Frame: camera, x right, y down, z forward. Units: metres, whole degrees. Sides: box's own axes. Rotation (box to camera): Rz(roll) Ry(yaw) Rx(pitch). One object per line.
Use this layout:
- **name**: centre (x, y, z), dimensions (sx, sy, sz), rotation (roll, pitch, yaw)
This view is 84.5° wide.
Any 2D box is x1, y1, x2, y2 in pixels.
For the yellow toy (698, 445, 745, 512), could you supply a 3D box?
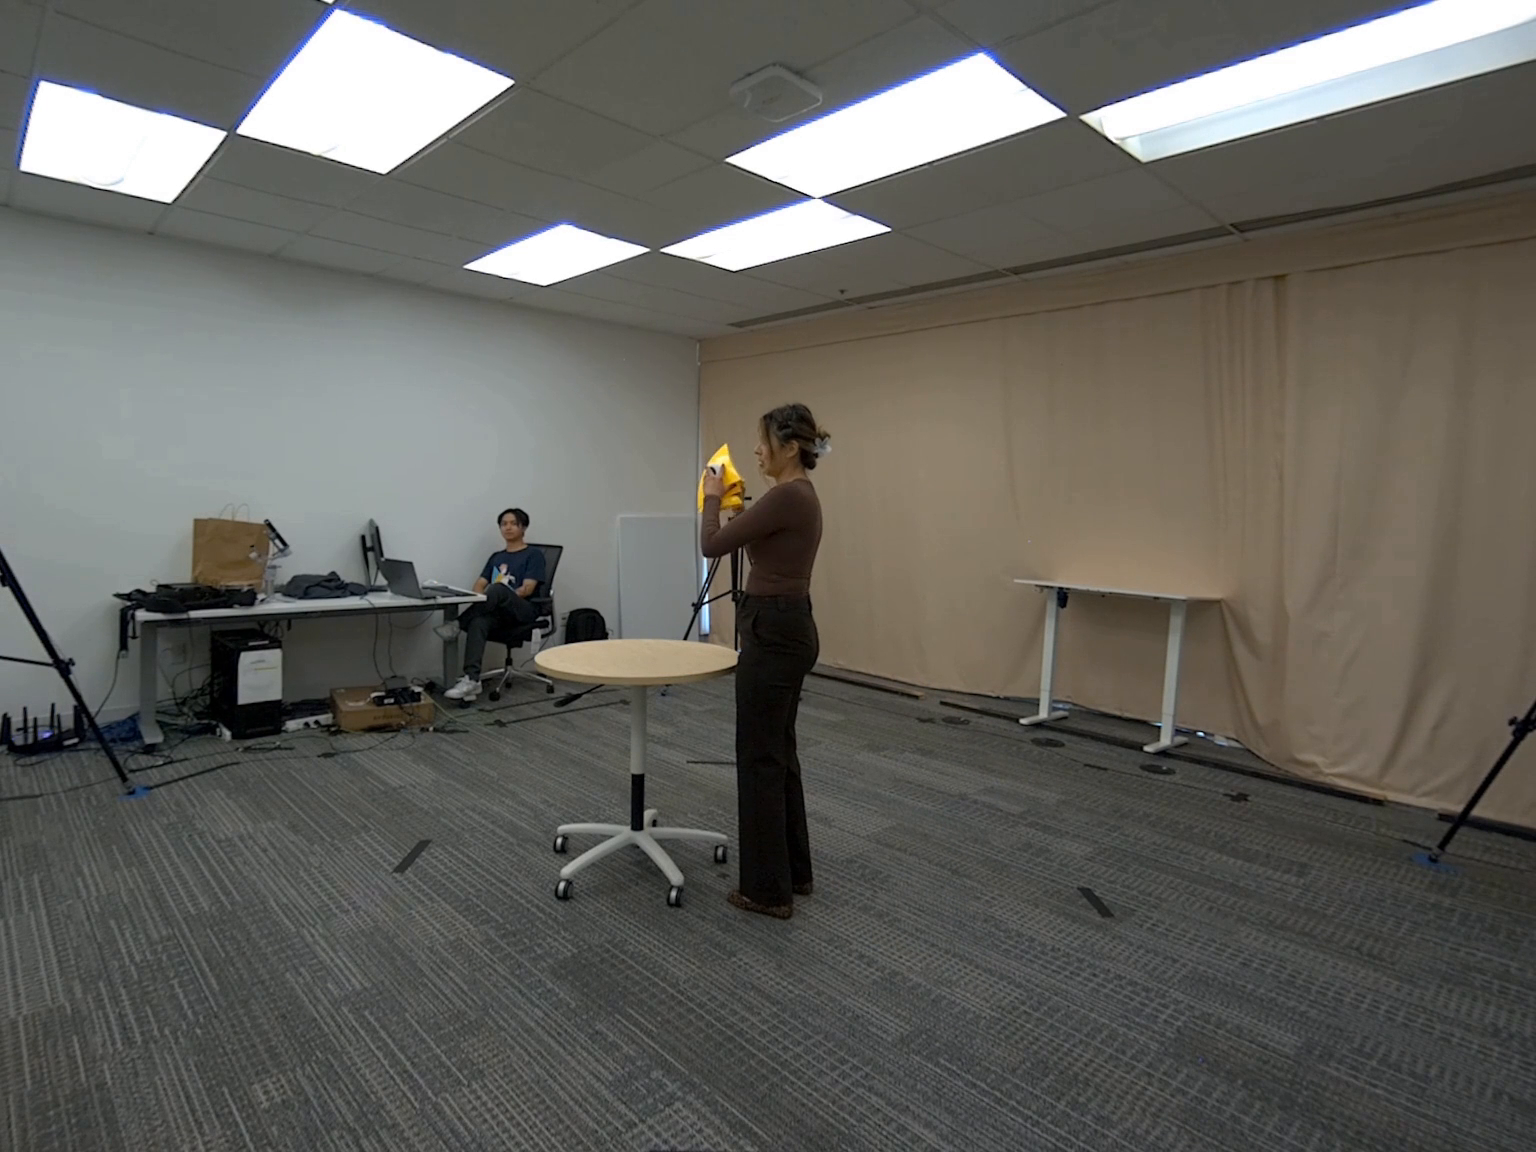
- **yellow toy**: centre (-0.185, -0.355, 3.077), dimensions (0.194, 0.231, 0.204), rotation (-13, 0, 8)
